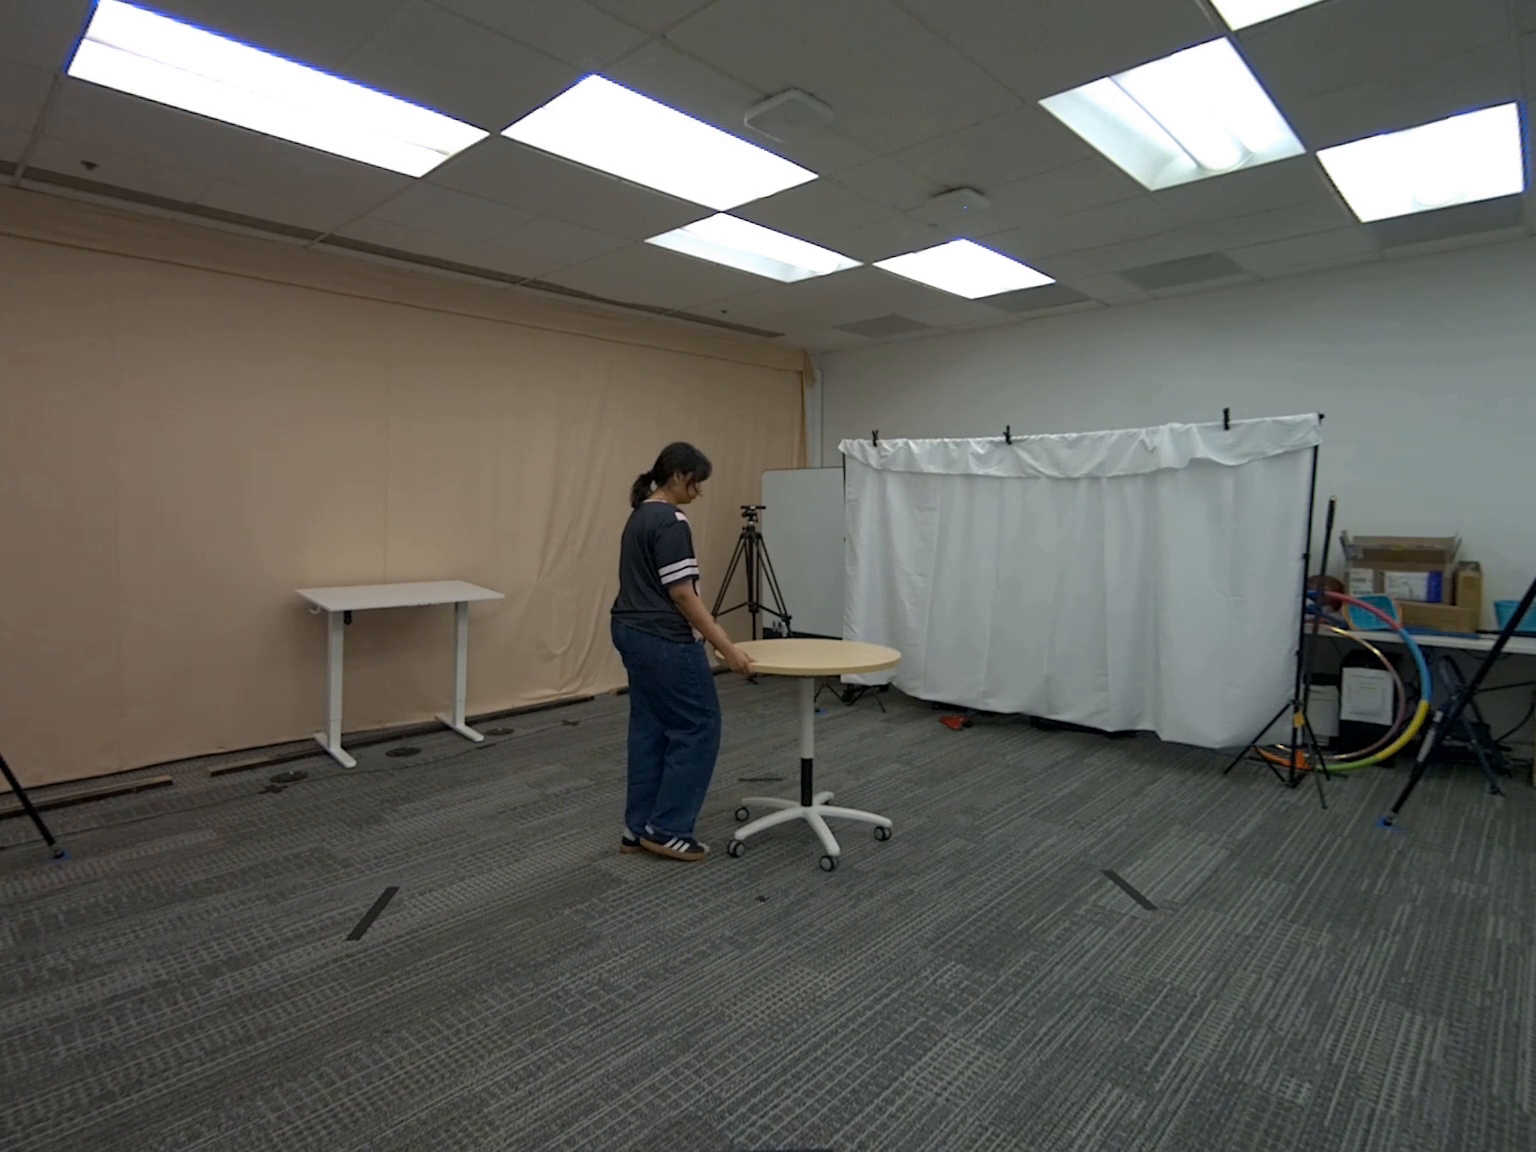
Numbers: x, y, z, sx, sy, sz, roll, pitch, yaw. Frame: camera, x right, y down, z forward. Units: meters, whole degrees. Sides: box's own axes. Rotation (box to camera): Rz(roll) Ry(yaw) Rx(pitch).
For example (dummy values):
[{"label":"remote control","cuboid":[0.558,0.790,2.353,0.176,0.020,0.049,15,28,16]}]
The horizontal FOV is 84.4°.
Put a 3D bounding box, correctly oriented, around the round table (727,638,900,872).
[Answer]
[{"label":"round table","cuboid":[0.168,0.712,3.503,0.763,0.793,0.766,0,3,-2]}]
